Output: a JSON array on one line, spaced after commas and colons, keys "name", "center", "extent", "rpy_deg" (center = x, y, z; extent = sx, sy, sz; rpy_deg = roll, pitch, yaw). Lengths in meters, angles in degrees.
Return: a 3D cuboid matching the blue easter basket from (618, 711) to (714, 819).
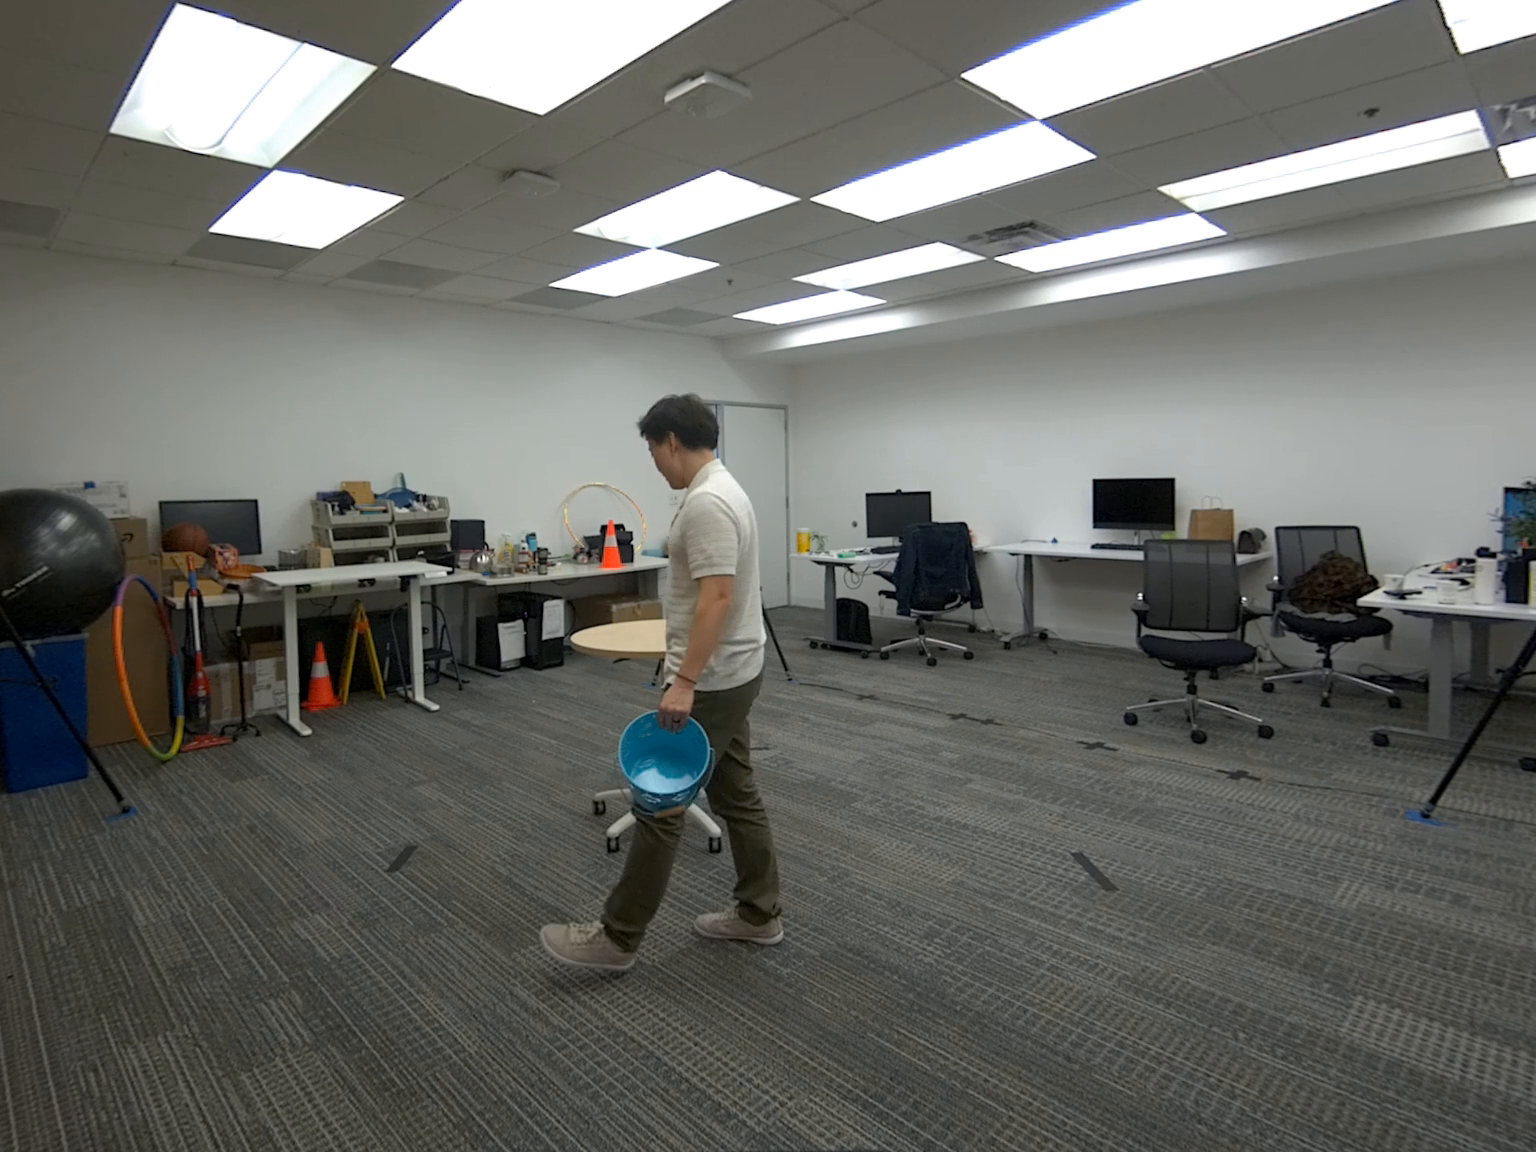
[{"name": "blue easter basket", "center": [-0.274, 0.494, 2.182], "extent": [0.243, 0.152, 0.250], "rpy_deg": [2, 46, -3]}]
